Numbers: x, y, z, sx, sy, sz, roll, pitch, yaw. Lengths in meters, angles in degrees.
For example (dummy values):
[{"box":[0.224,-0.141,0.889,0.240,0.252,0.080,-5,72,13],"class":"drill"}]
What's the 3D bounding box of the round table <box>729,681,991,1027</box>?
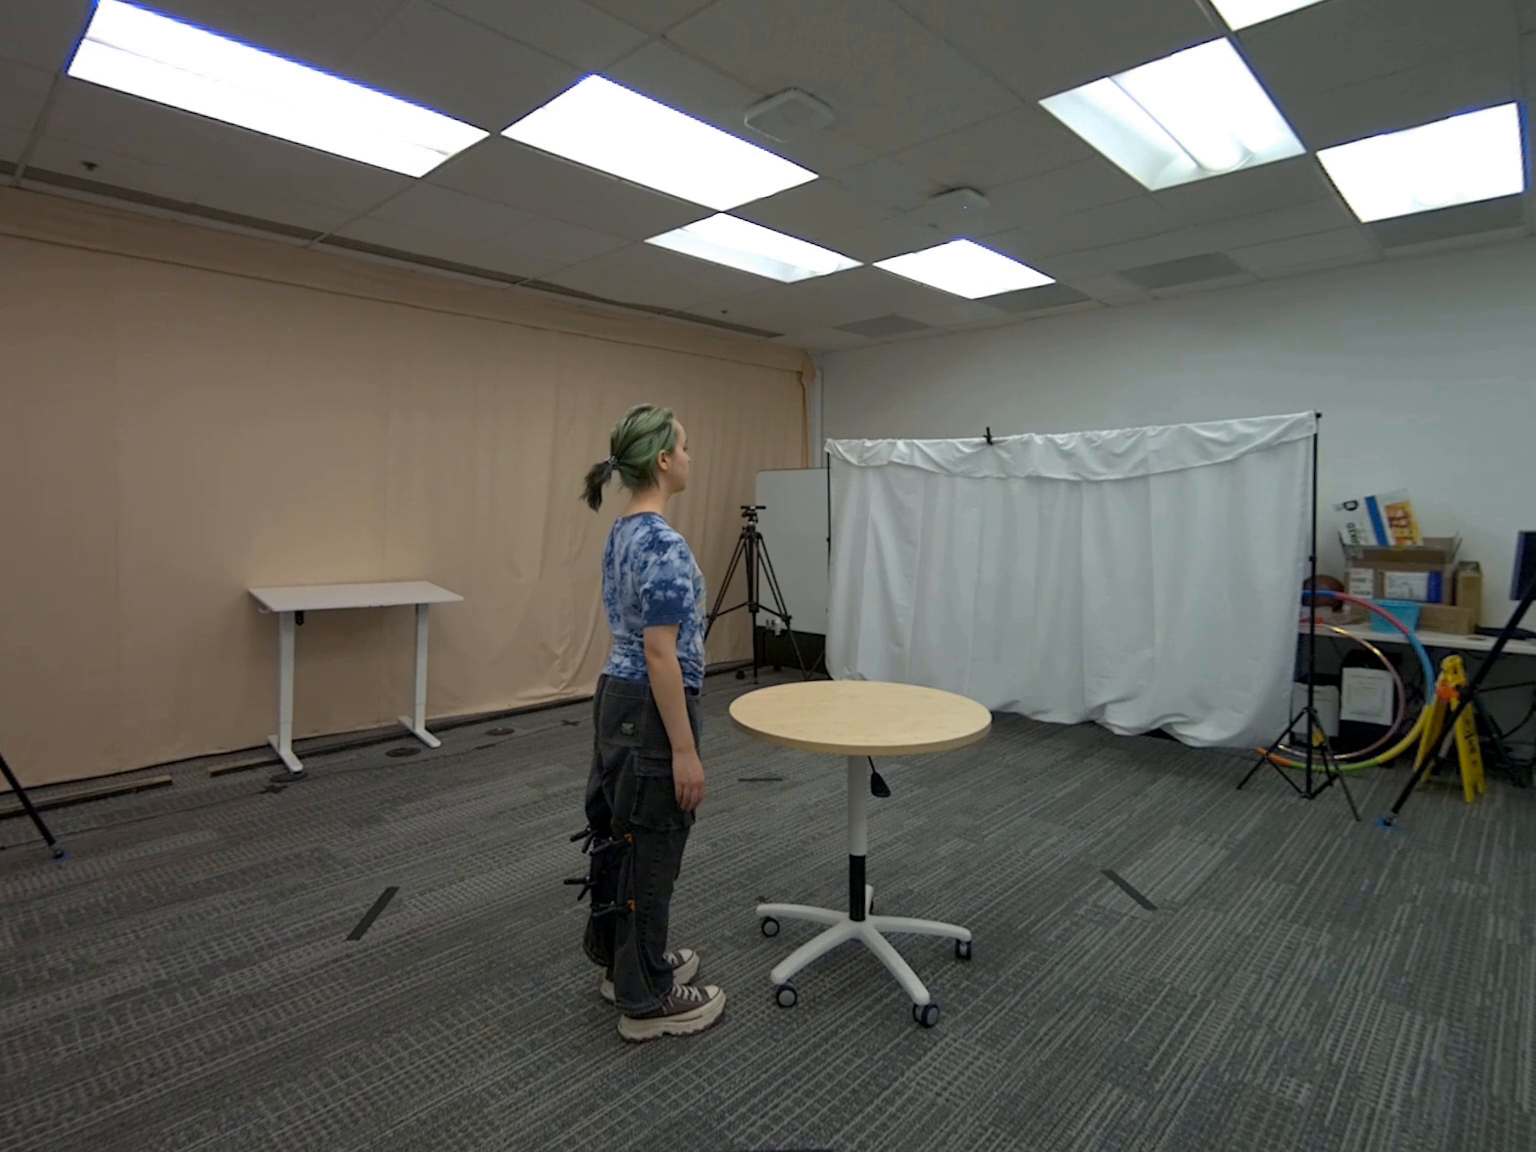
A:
[{"box":[0.276,0.790,2.551,0.763,0.792,0.767,0,4,-2],"class":"round table"}]
